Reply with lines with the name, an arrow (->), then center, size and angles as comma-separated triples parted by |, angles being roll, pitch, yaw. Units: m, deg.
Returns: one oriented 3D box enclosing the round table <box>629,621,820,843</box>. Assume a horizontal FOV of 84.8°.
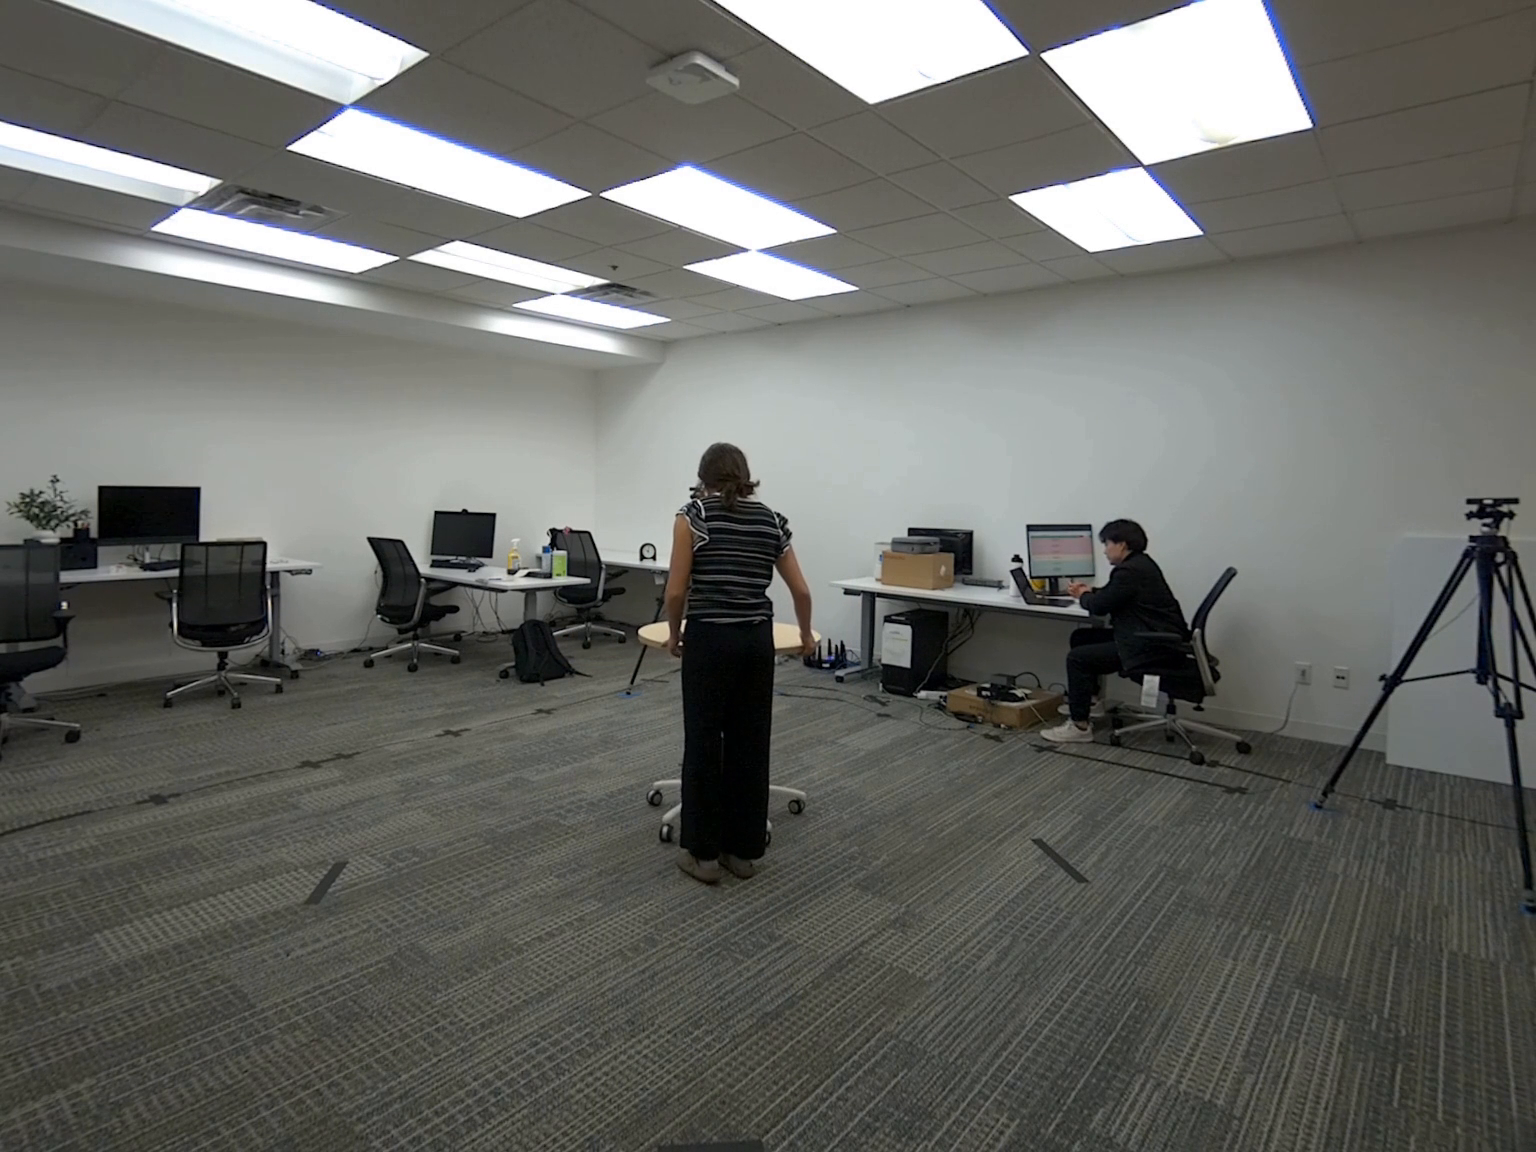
round table -> -0.181, 0.622, 3.571 | 0.784, 0.784, 0.789 | 1, 4, -2
